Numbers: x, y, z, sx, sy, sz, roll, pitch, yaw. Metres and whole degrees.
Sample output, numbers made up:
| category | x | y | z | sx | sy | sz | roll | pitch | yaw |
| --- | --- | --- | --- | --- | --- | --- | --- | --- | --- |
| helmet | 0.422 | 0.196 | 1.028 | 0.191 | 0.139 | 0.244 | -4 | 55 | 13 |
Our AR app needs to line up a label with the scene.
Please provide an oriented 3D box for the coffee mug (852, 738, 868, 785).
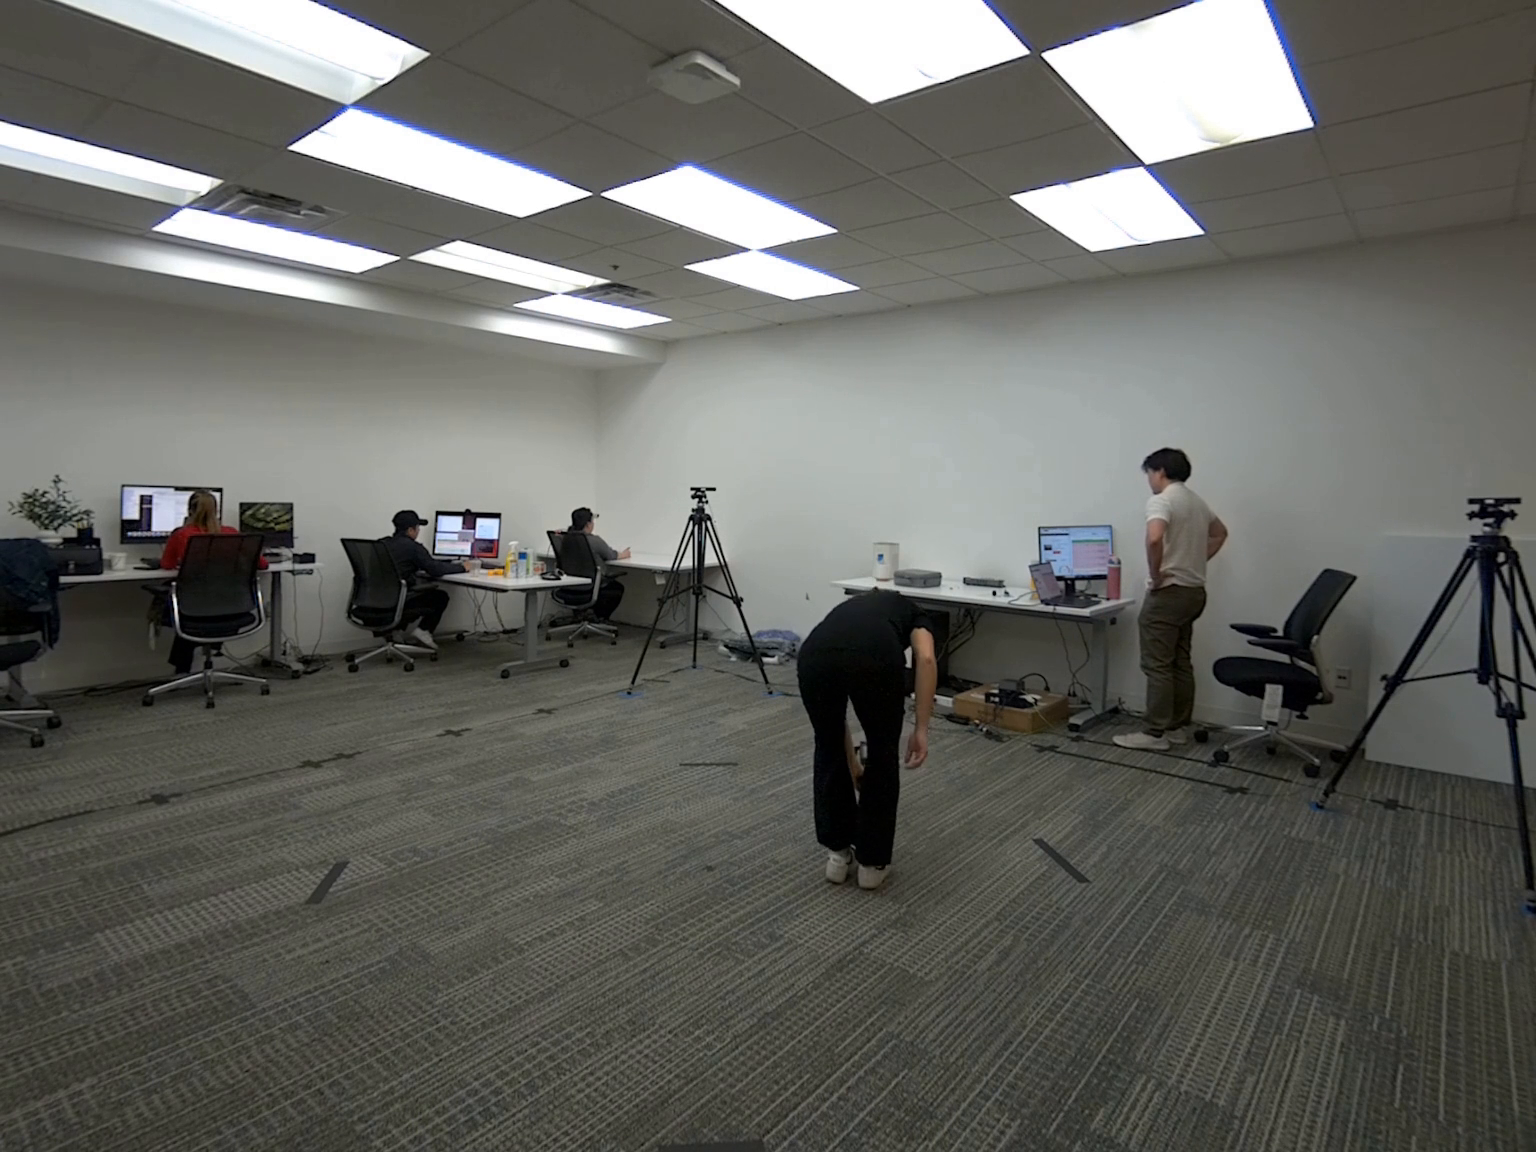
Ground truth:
| category | x | y | z | sx | sy | sz | roll | pitch | yaw |
| --- | --- | --- | --- | --- | --- | --- | --- | --- | --- |
| coffee mug | 0.379 | 0.757 | 3.391 | 0.125 | 0.206 | 0.084 | -4 | -21 | 29 |
